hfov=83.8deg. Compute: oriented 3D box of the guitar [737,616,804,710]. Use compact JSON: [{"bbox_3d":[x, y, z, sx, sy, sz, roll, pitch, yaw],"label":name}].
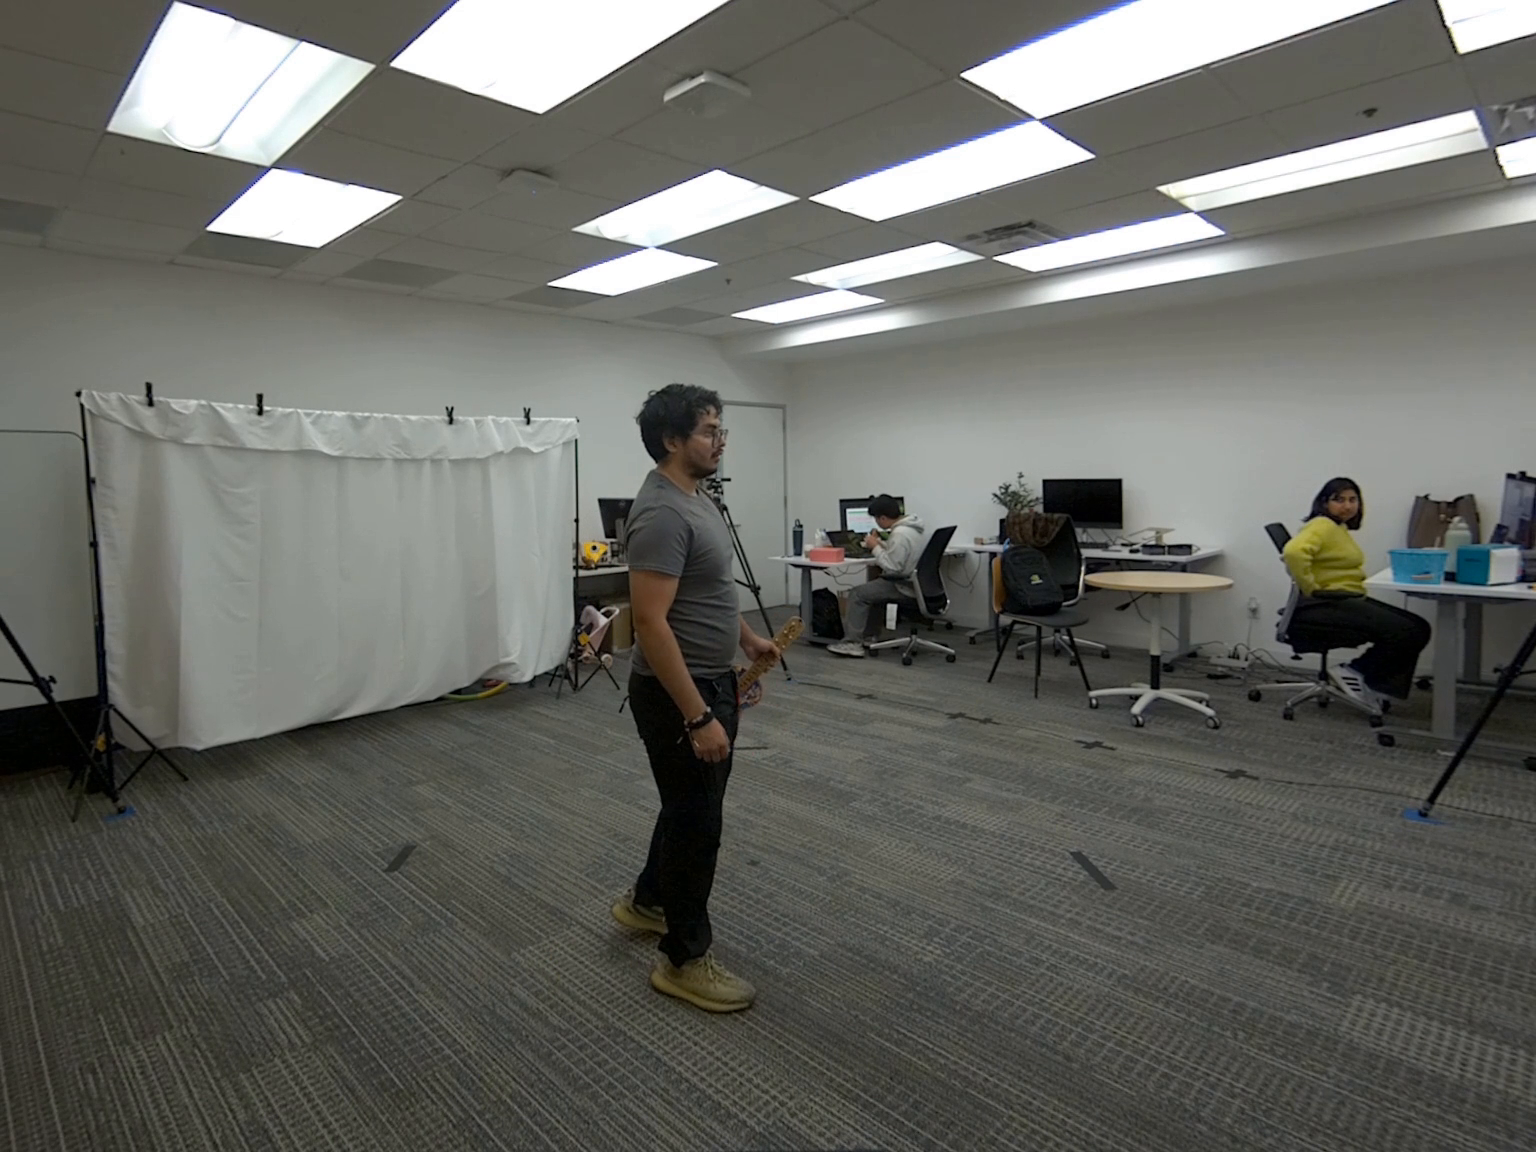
[{"bbox_3d":[-0.034,0.349,2.734,0.498,0.195,0.070,-42,-7,-1],"label":"guitar"}]
